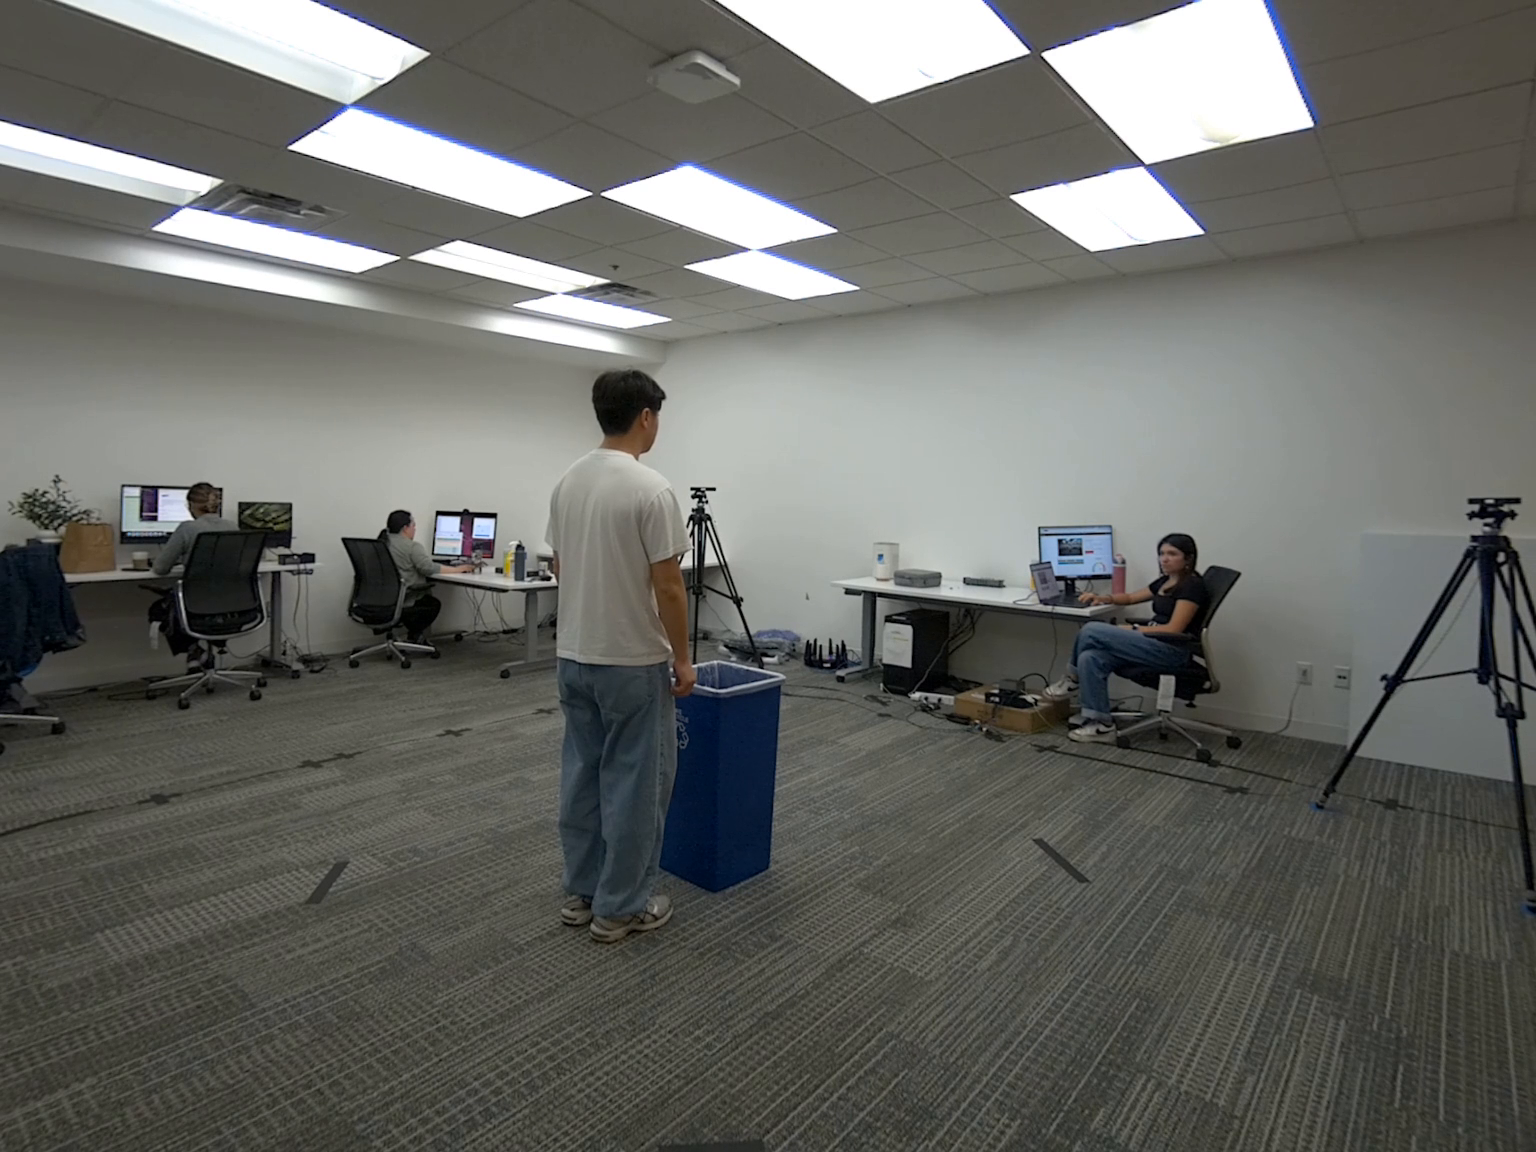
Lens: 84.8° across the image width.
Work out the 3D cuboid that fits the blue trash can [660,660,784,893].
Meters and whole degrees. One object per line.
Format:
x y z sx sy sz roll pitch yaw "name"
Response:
-0.191 0.709 3.103 0.387 0.711 0.367 4 4 41 "blue trash can"
